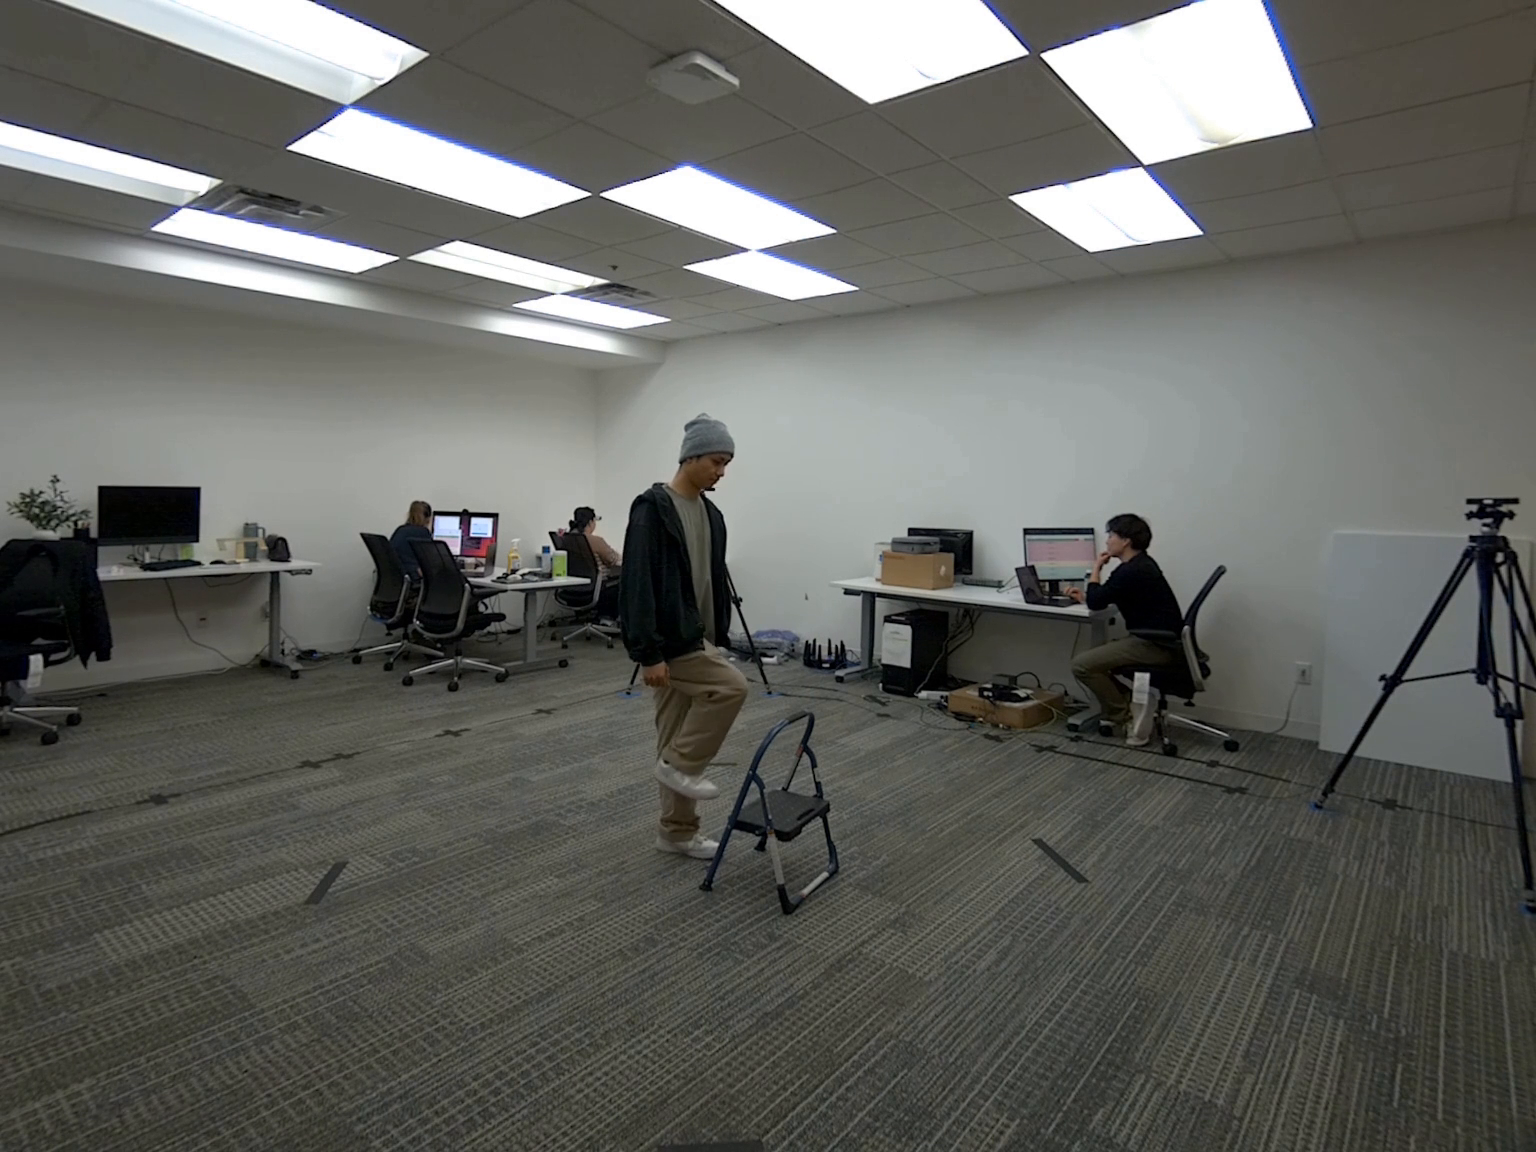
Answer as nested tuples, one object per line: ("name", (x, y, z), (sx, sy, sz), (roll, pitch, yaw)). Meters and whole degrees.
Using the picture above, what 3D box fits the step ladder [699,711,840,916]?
("step ladder", (0.016, 0.777, 3.017), (0.359, 0.604, 0.420), (3, 4, 29))
